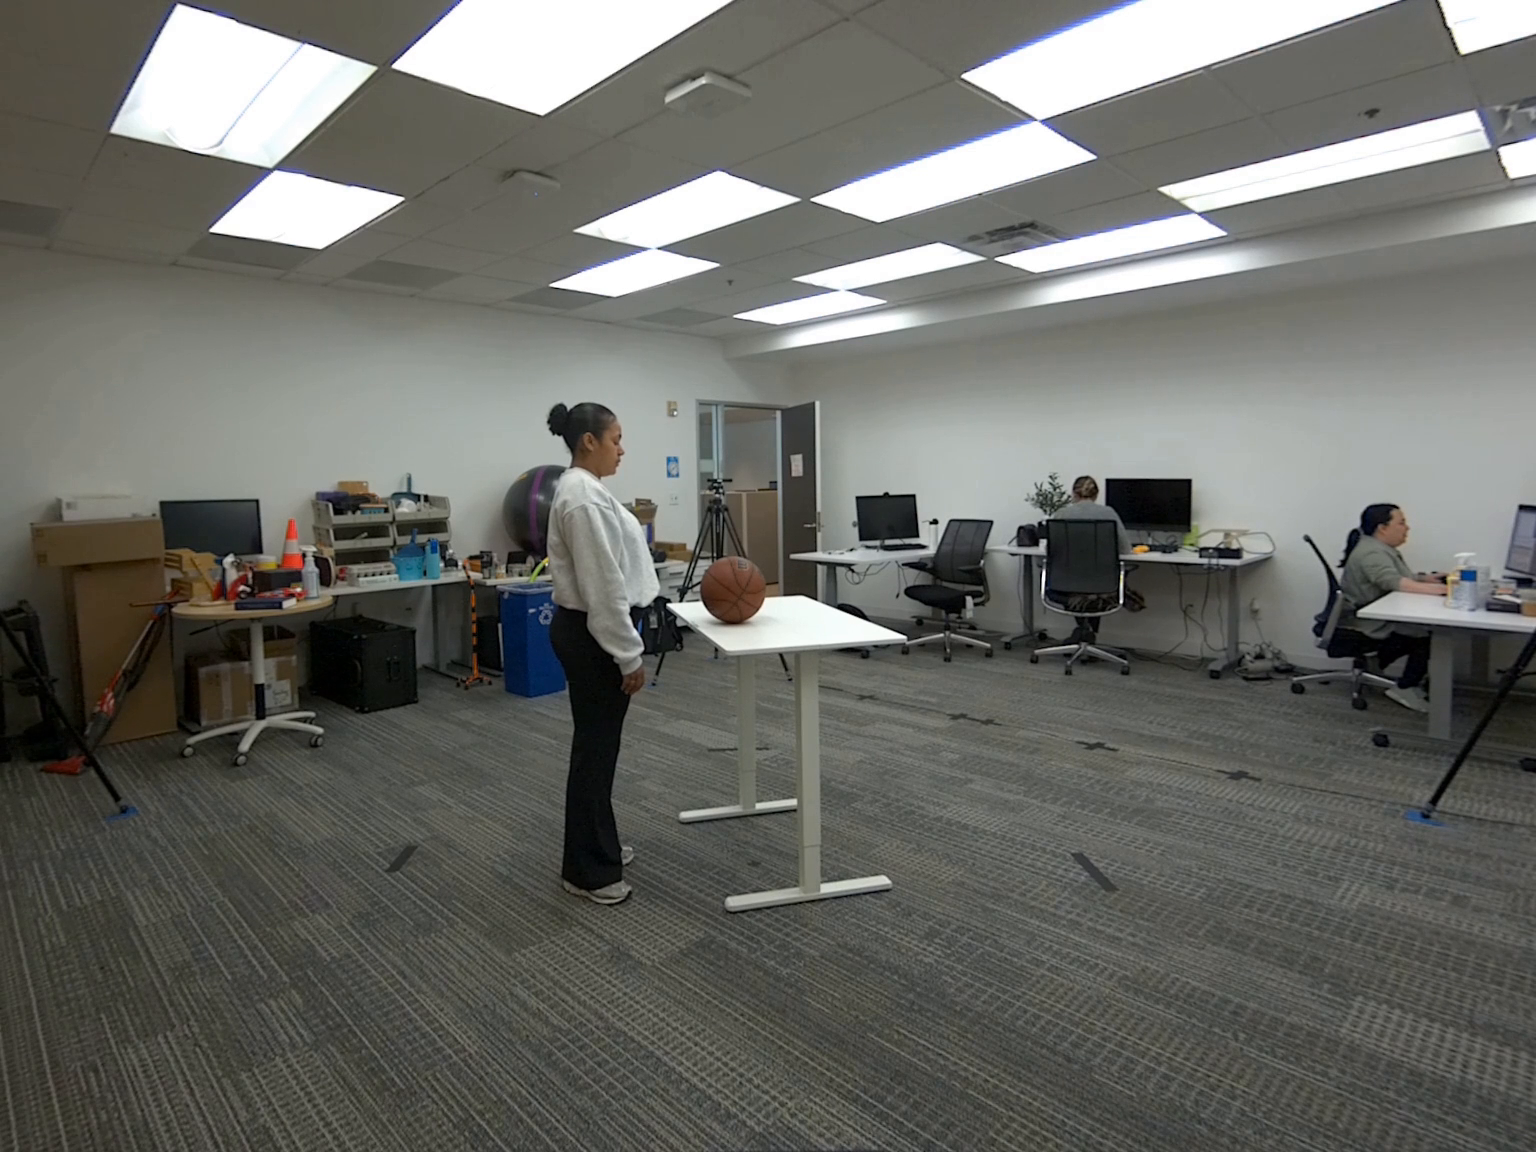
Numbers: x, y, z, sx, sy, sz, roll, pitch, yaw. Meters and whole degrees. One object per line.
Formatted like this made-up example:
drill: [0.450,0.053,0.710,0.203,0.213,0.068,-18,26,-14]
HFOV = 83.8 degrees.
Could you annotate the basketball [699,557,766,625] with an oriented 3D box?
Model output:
basketball: [-0.132,0.049,3.073,0.236,0.235,0.237,-1,5,-2]
